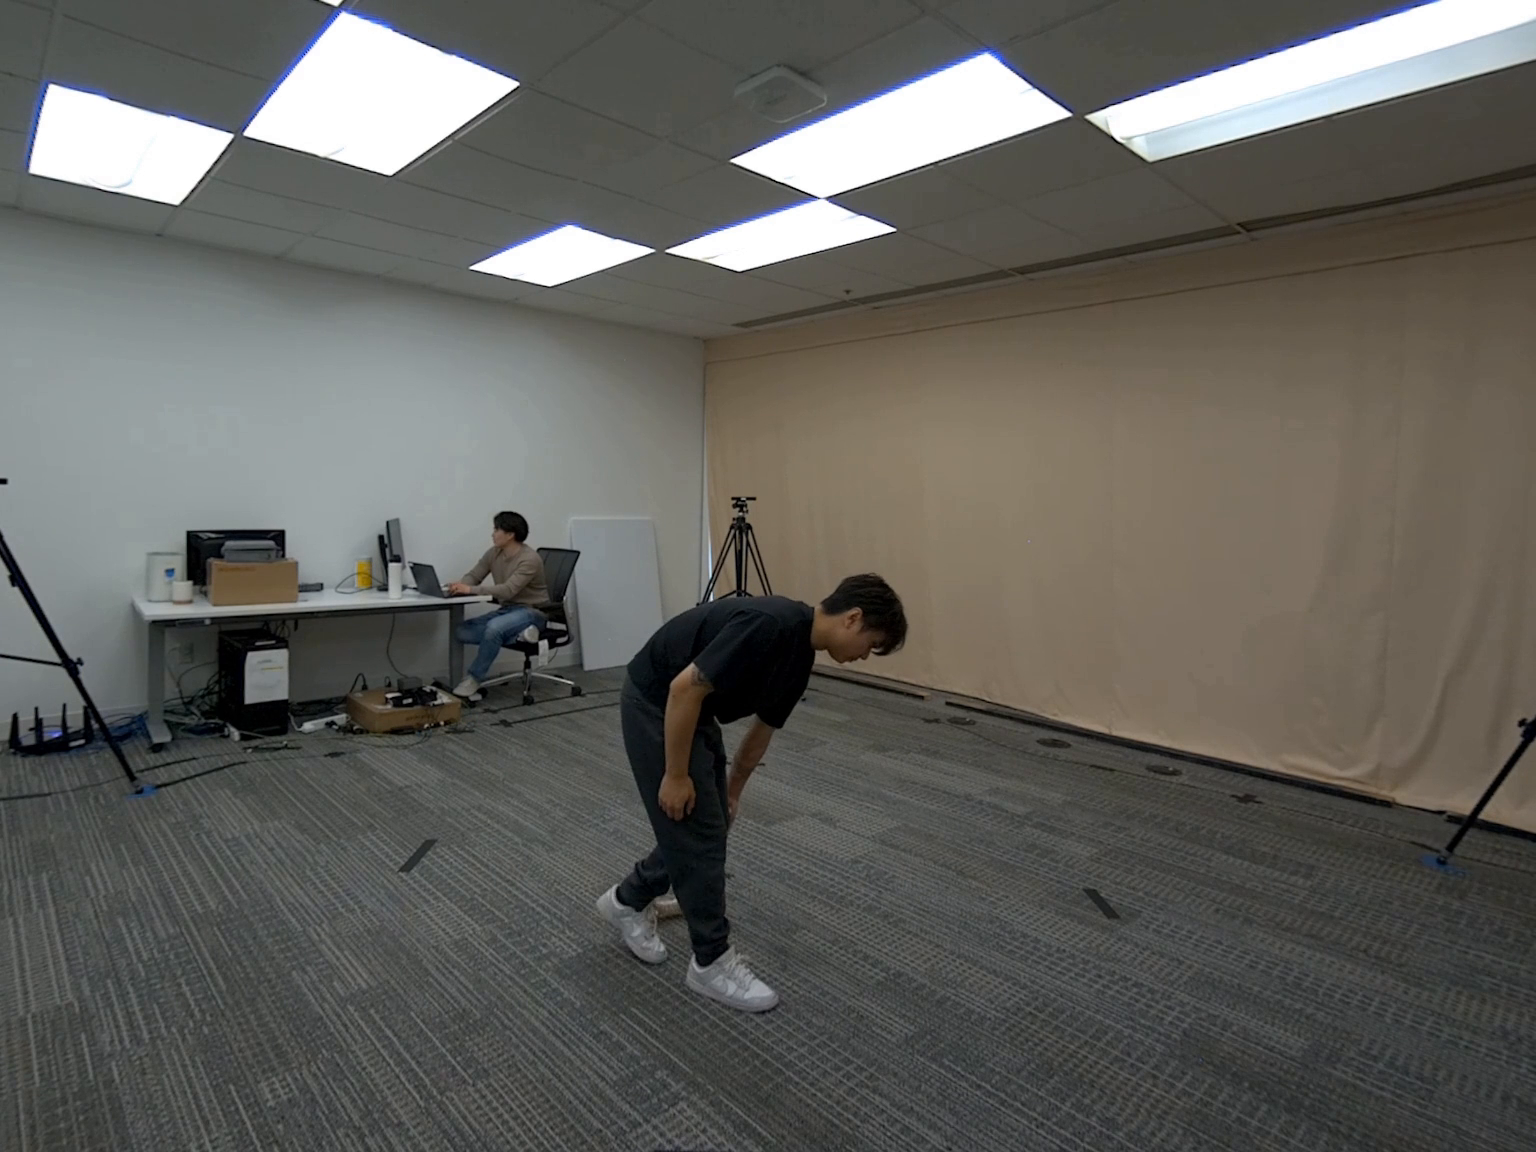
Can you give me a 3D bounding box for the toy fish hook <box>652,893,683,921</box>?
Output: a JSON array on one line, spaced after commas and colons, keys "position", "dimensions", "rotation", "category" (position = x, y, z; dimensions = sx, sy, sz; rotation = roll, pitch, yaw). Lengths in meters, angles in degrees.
[{"position": [-0.260, 0.931, 2.686], "dimensions": [0.220, 0.501, 0.050], "rotation": [0, 33, -31], "category": "toy fish hook"}]
